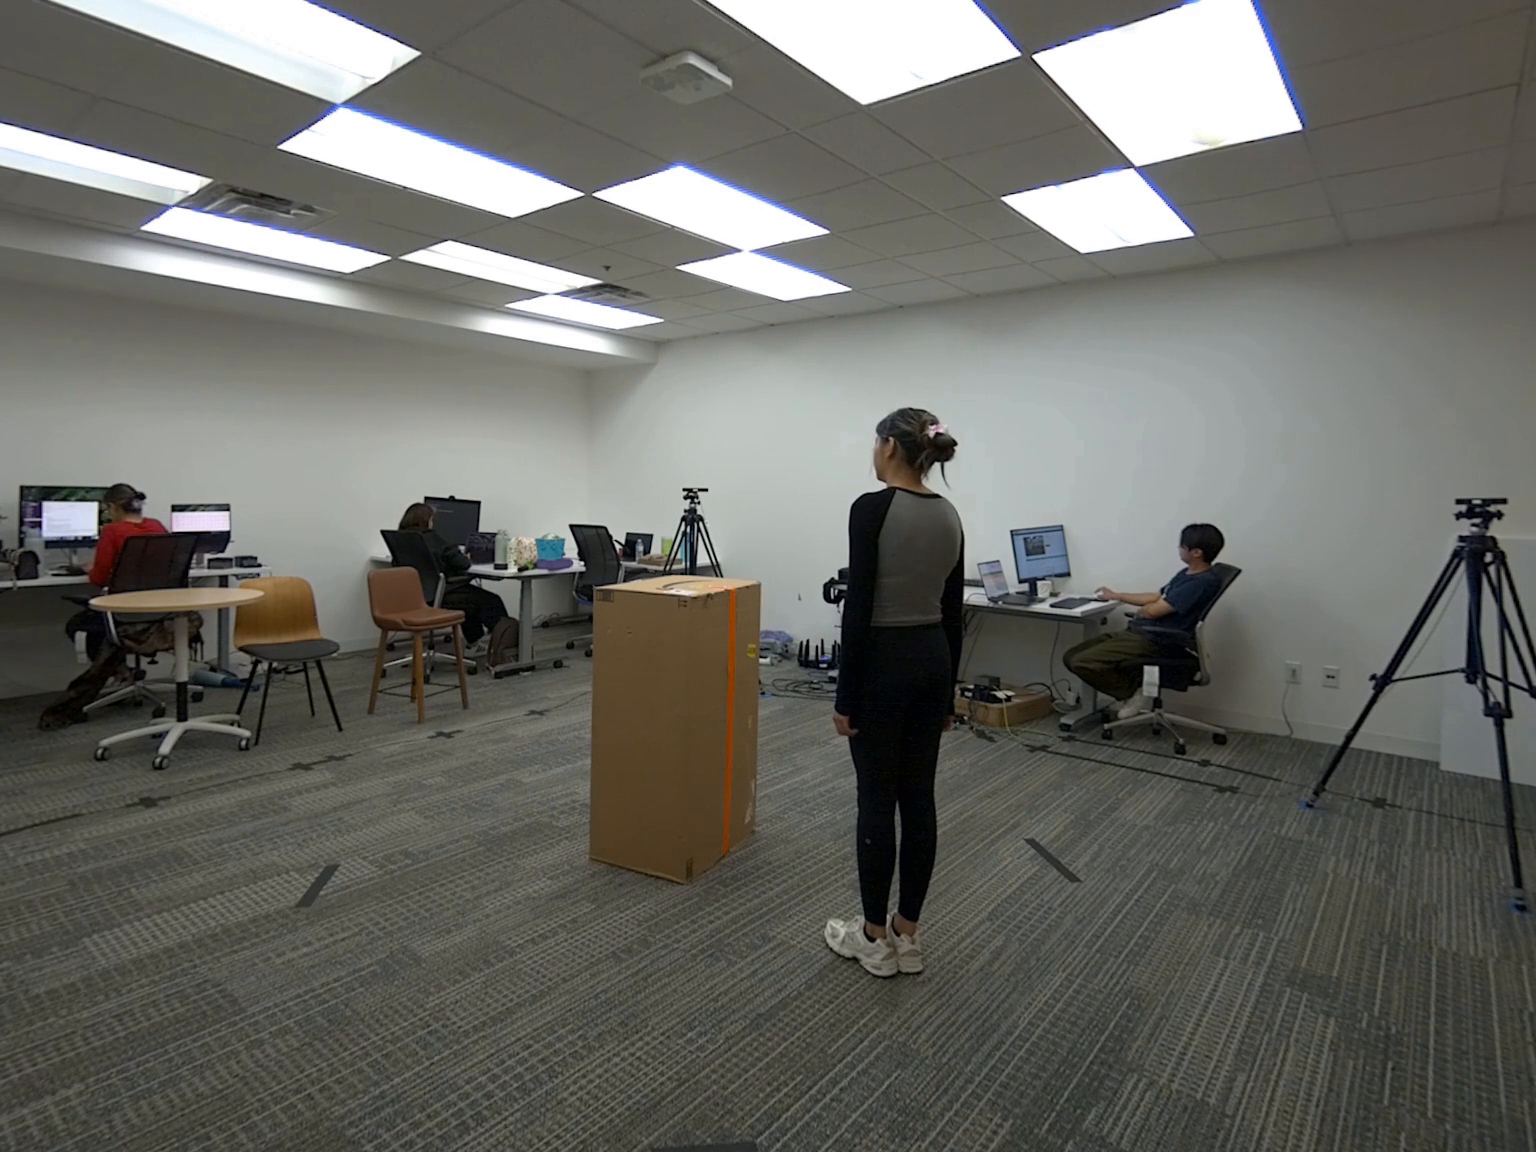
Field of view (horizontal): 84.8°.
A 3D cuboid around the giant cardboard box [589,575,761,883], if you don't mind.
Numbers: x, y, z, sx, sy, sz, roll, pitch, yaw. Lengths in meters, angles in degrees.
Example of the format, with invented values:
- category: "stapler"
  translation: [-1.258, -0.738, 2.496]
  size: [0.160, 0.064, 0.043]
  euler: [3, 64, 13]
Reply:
- category: "giant cardboard box"
  translation: [-0.354, 0.539, 3.303]
  size: [0.438, 1.023, 0.564]
  euler: [3, 4, 27]
